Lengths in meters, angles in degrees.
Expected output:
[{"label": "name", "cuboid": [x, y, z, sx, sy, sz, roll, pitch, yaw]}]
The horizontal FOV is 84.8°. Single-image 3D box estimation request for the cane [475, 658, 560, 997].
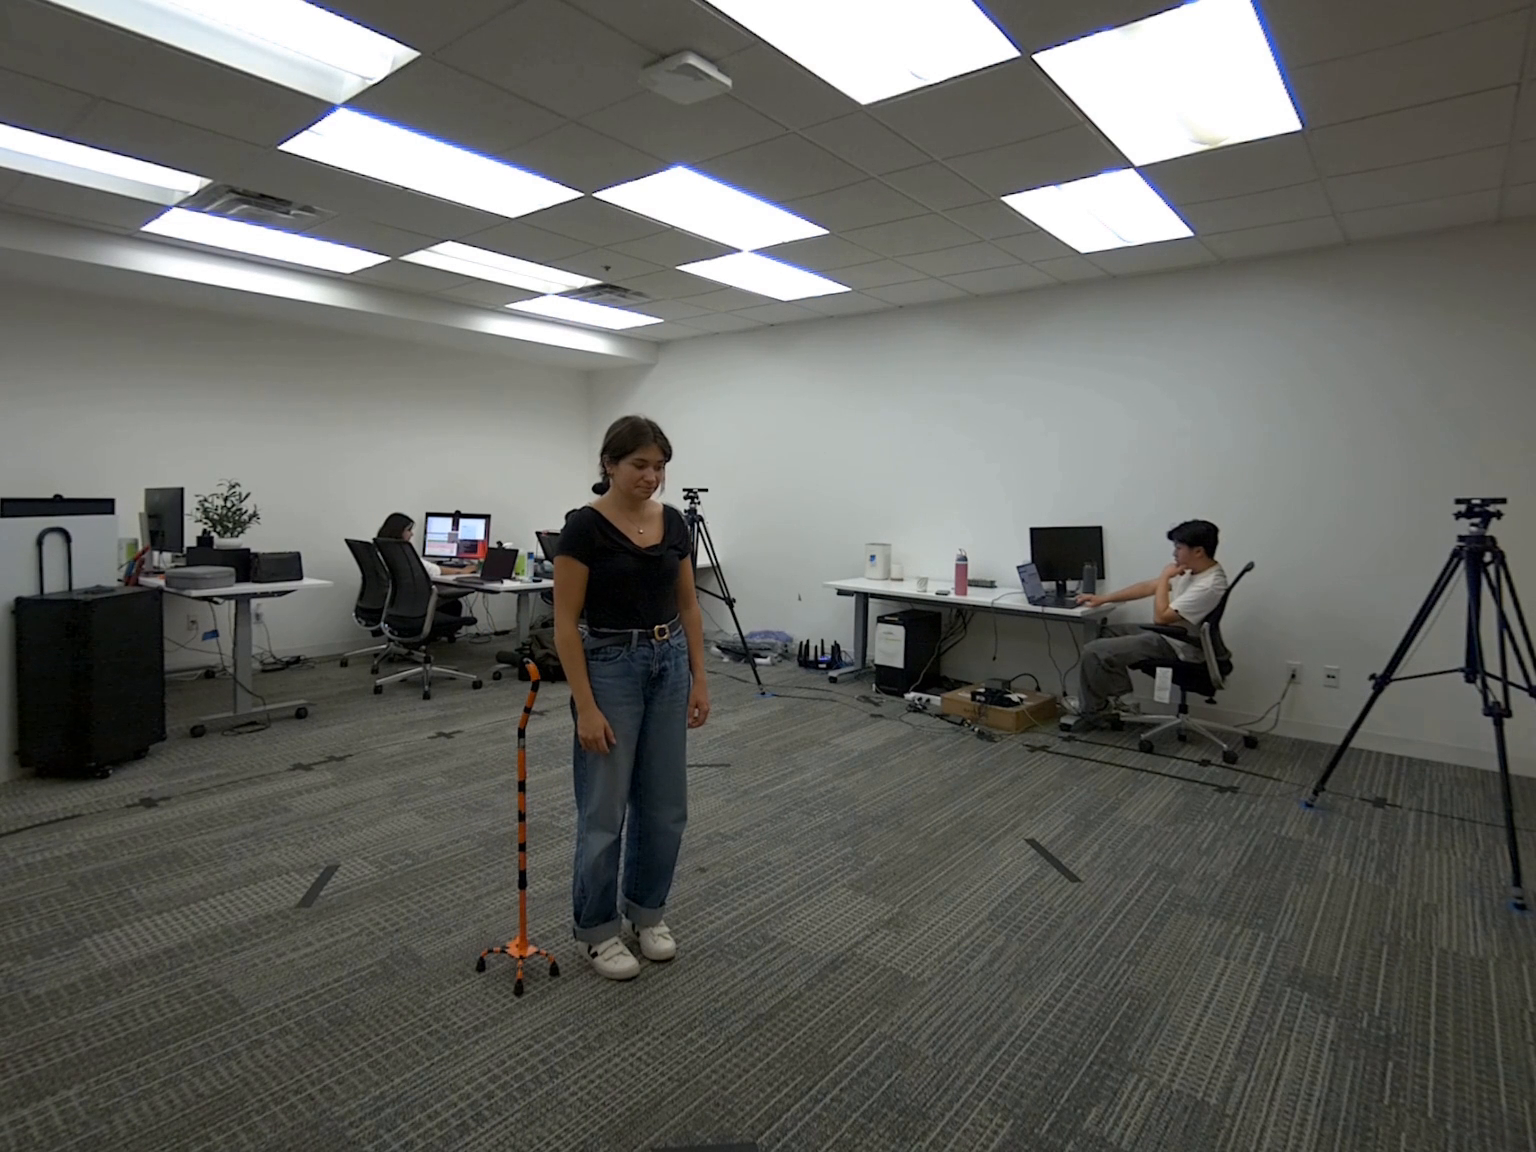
[{"label": "cane", "cuboid": [-0.719, 0.679, 2.420, 0.213, 0.906, 0.147, 2, 3, 37]}]
